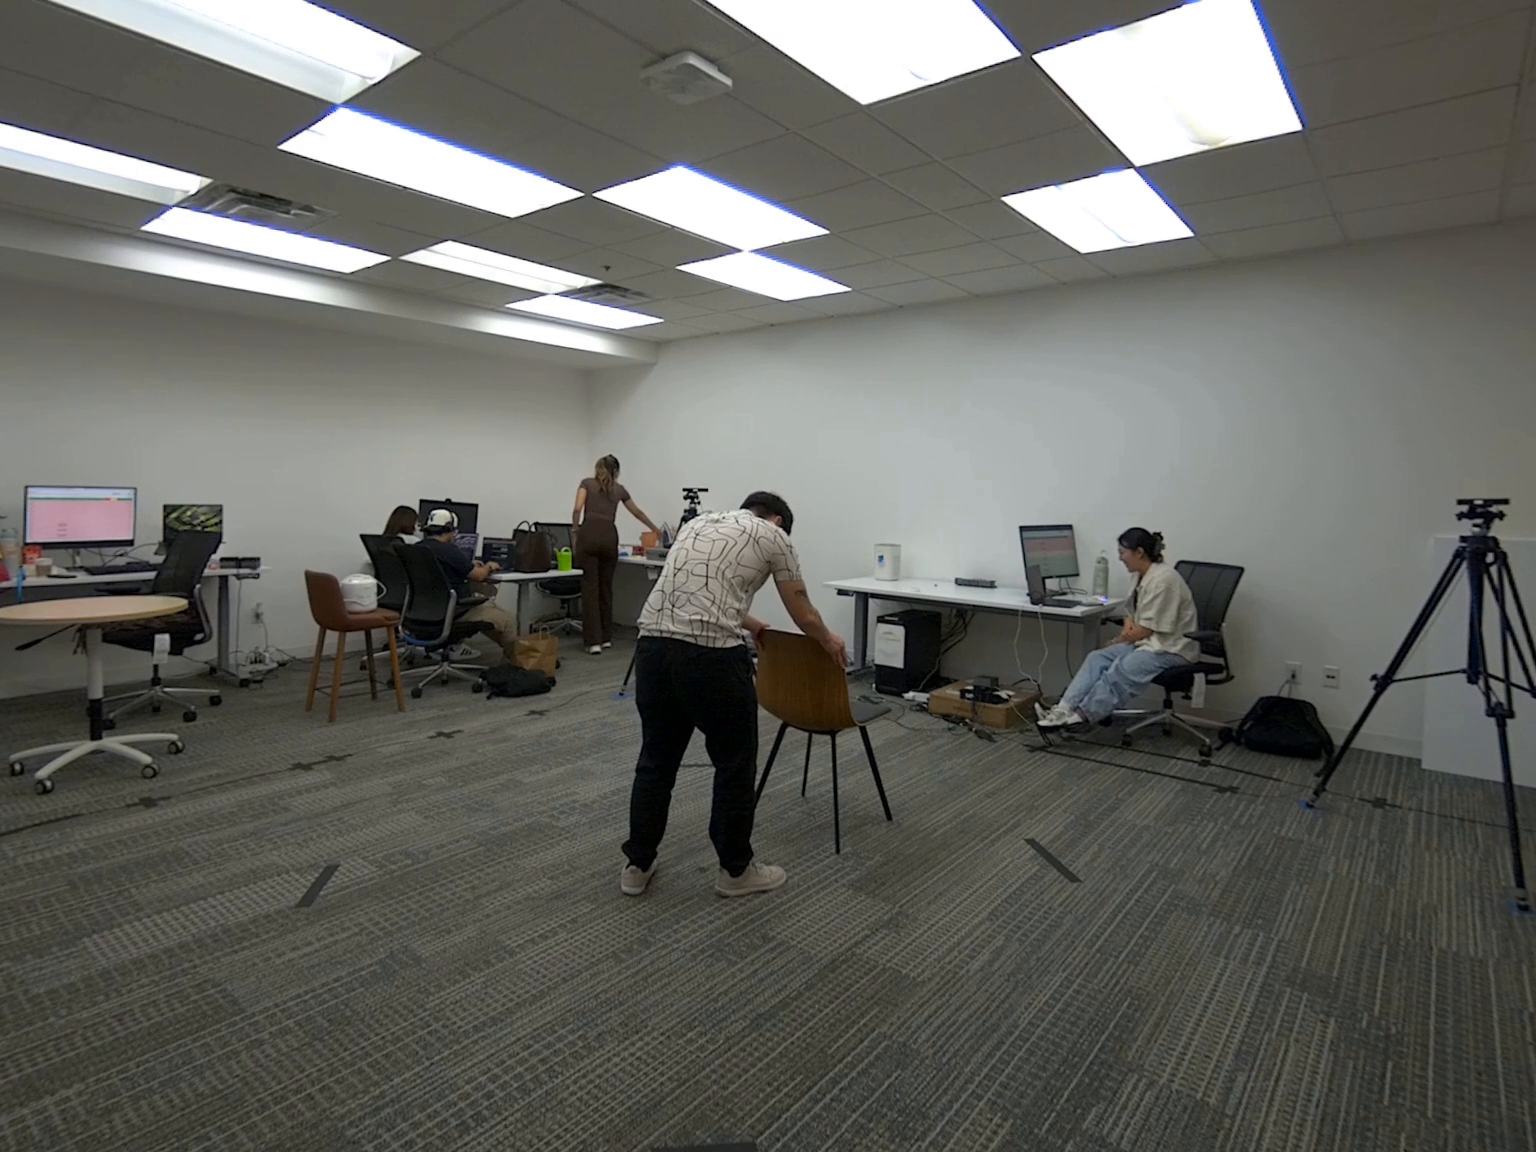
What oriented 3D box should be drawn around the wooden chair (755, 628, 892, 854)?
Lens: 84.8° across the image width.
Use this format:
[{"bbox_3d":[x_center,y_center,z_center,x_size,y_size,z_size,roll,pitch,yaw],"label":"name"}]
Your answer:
[{"bbox_3d":[0.220,0.605,3.558,0.494,0.871,0.510,3,9,36],"label":"wooden chair"}]
